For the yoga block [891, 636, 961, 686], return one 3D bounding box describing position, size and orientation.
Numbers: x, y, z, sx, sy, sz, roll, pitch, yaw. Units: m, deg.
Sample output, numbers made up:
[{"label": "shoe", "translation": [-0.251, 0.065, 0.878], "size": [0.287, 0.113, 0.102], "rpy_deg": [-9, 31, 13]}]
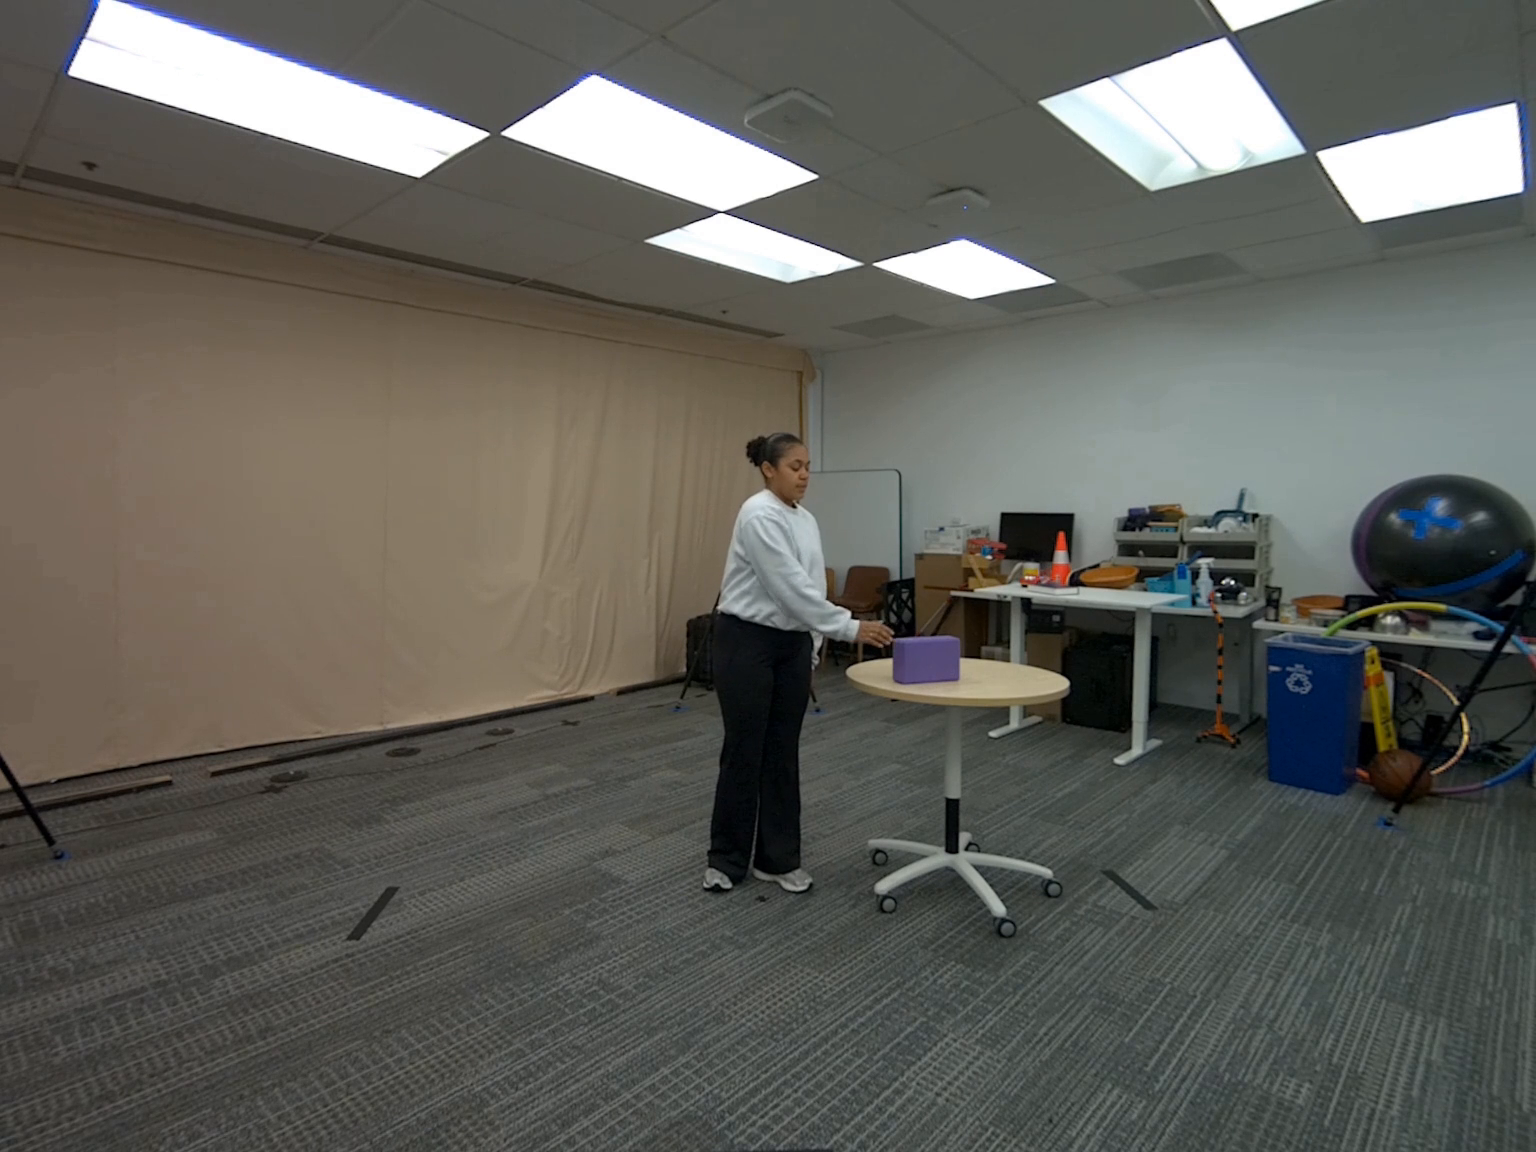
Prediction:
[{"label": "yoga block", "translation": [0.557, 0.293, 2.907], "size": [0.226, 0.149, 0.078], "rpy_deg": [0, 3, -15]}]
